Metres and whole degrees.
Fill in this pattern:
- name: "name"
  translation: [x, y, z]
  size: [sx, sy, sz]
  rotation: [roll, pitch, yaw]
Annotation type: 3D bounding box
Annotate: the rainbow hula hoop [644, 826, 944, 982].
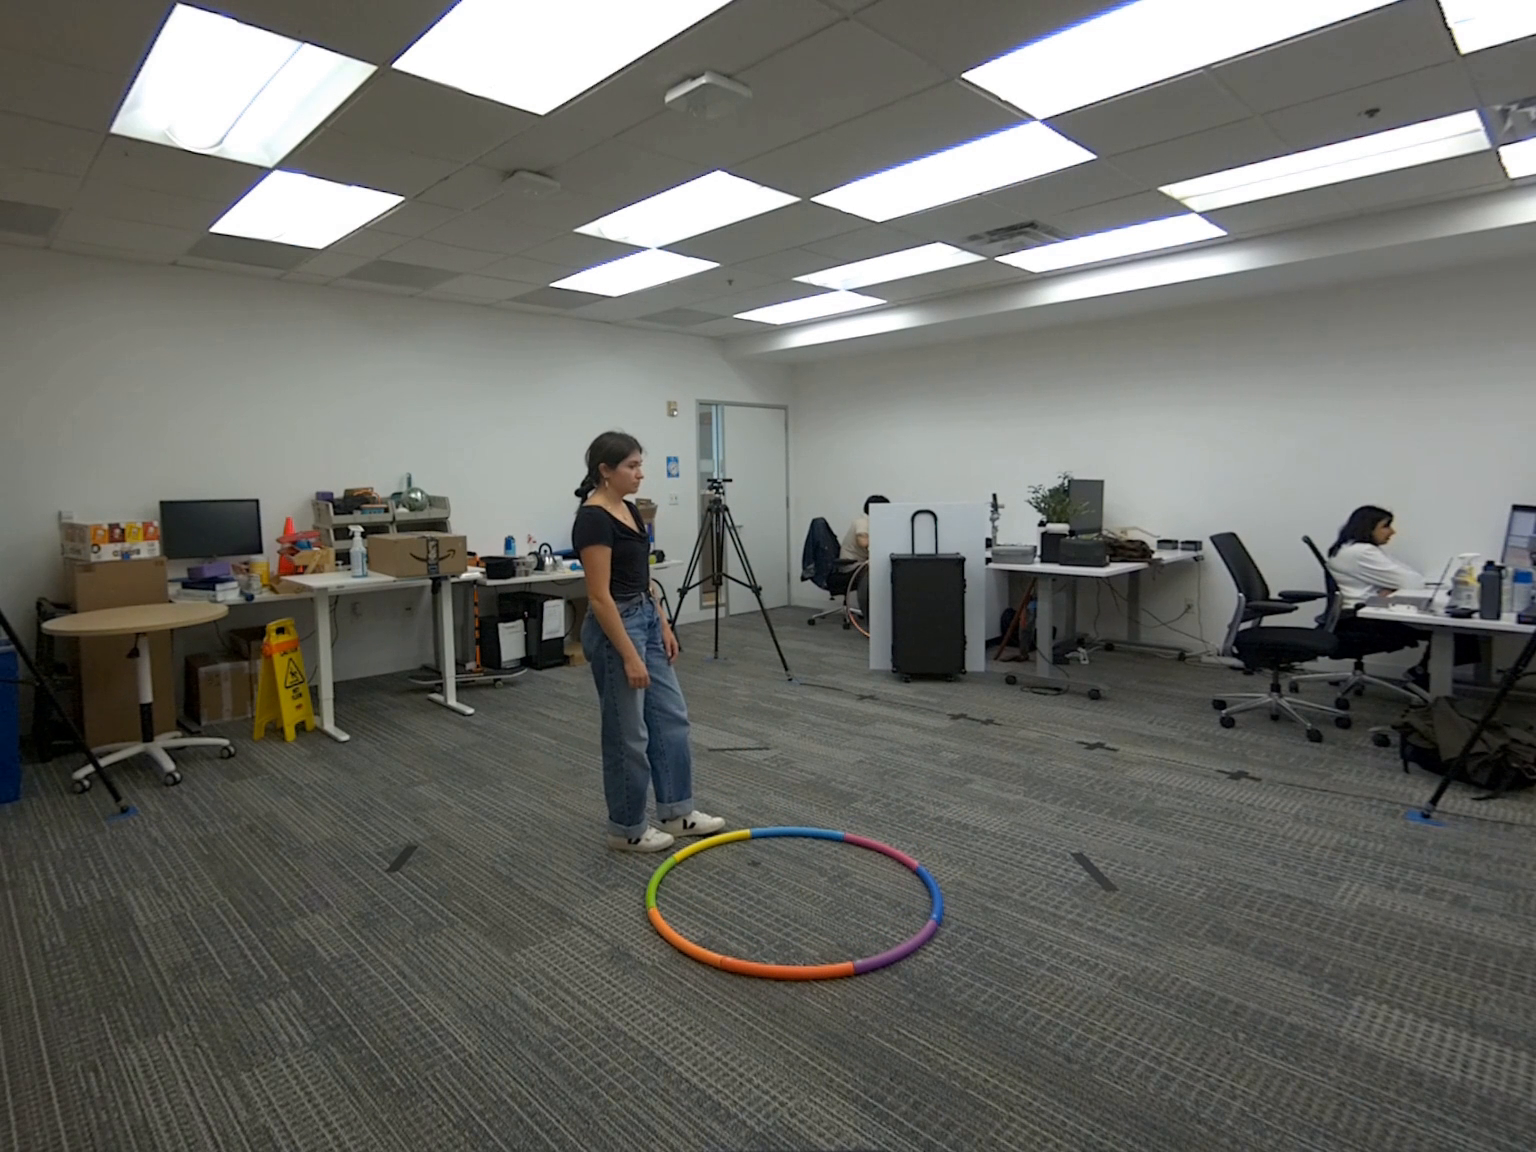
- name: "rainbow hula hoop"
  translation: [0.080, 1.043, 2.869]
  size: [0.978, 0.035, 0.984]
  rotation: [-1, 6, -2]
